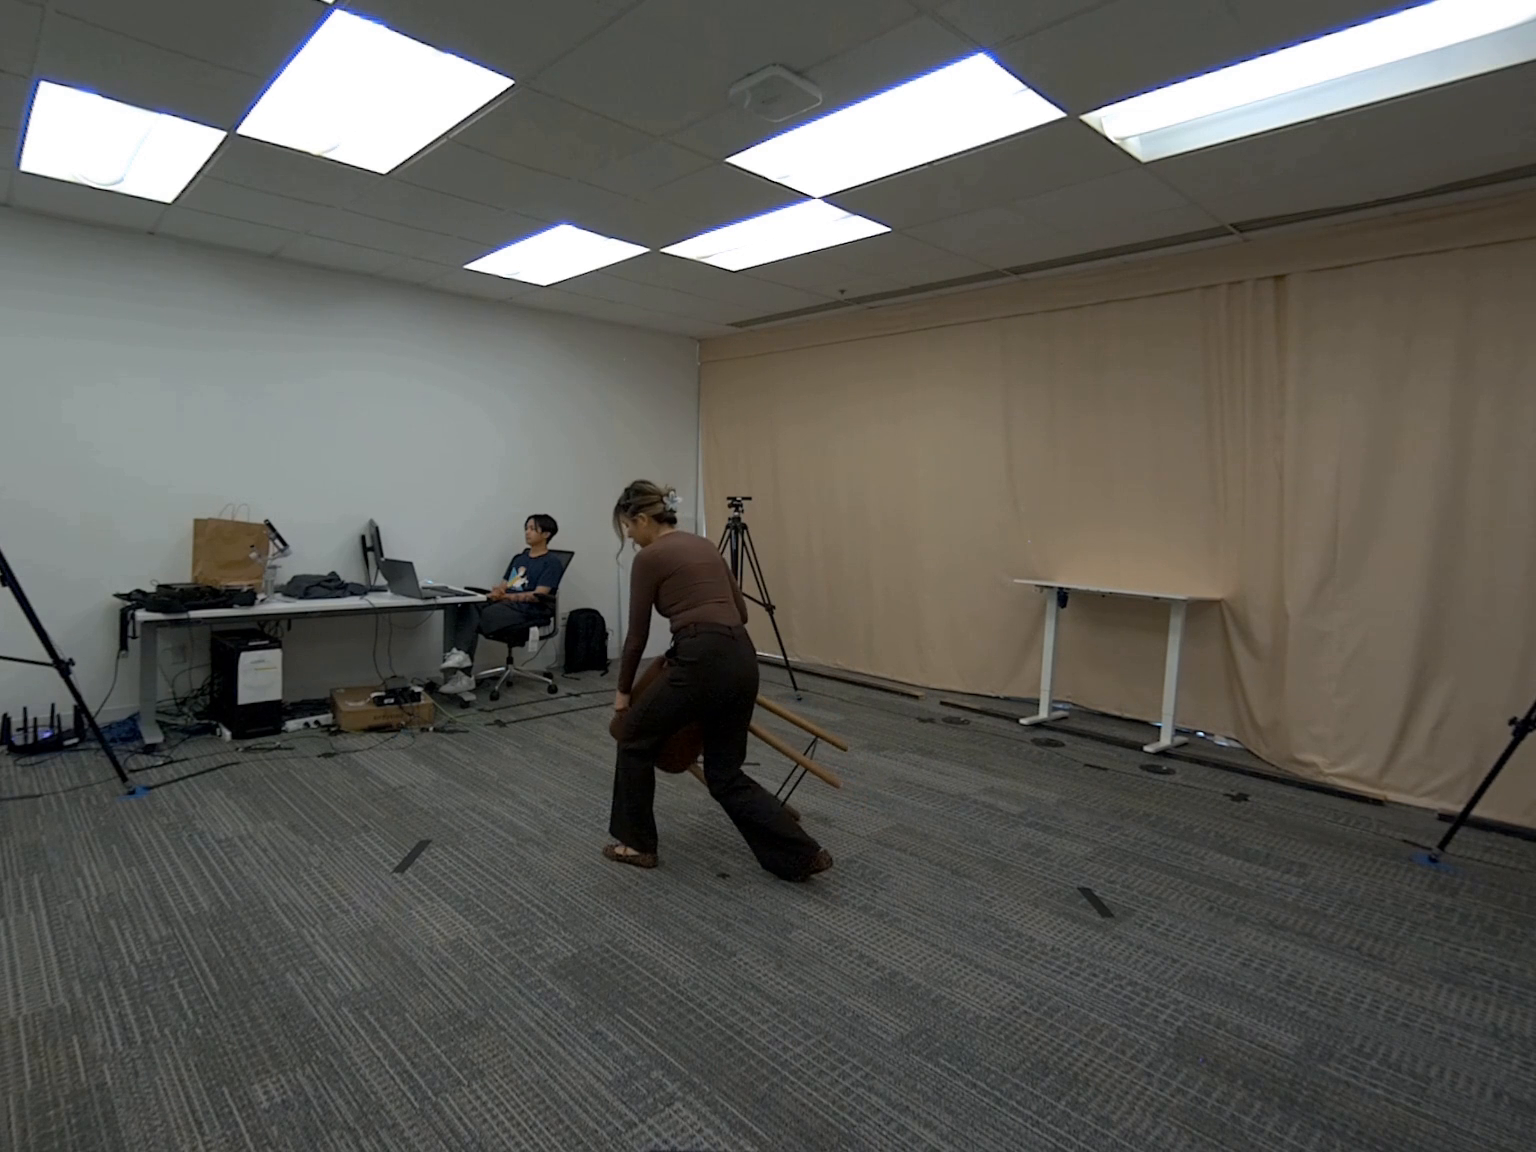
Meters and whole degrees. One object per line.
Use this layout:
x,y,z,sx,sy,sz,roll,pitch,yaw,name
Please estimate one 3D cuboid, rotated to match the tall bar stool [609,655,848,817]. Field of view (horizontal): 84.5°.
-0.148,0.684,3.477,0.894,0.455,0.466,33,9,4,tall bar stool
